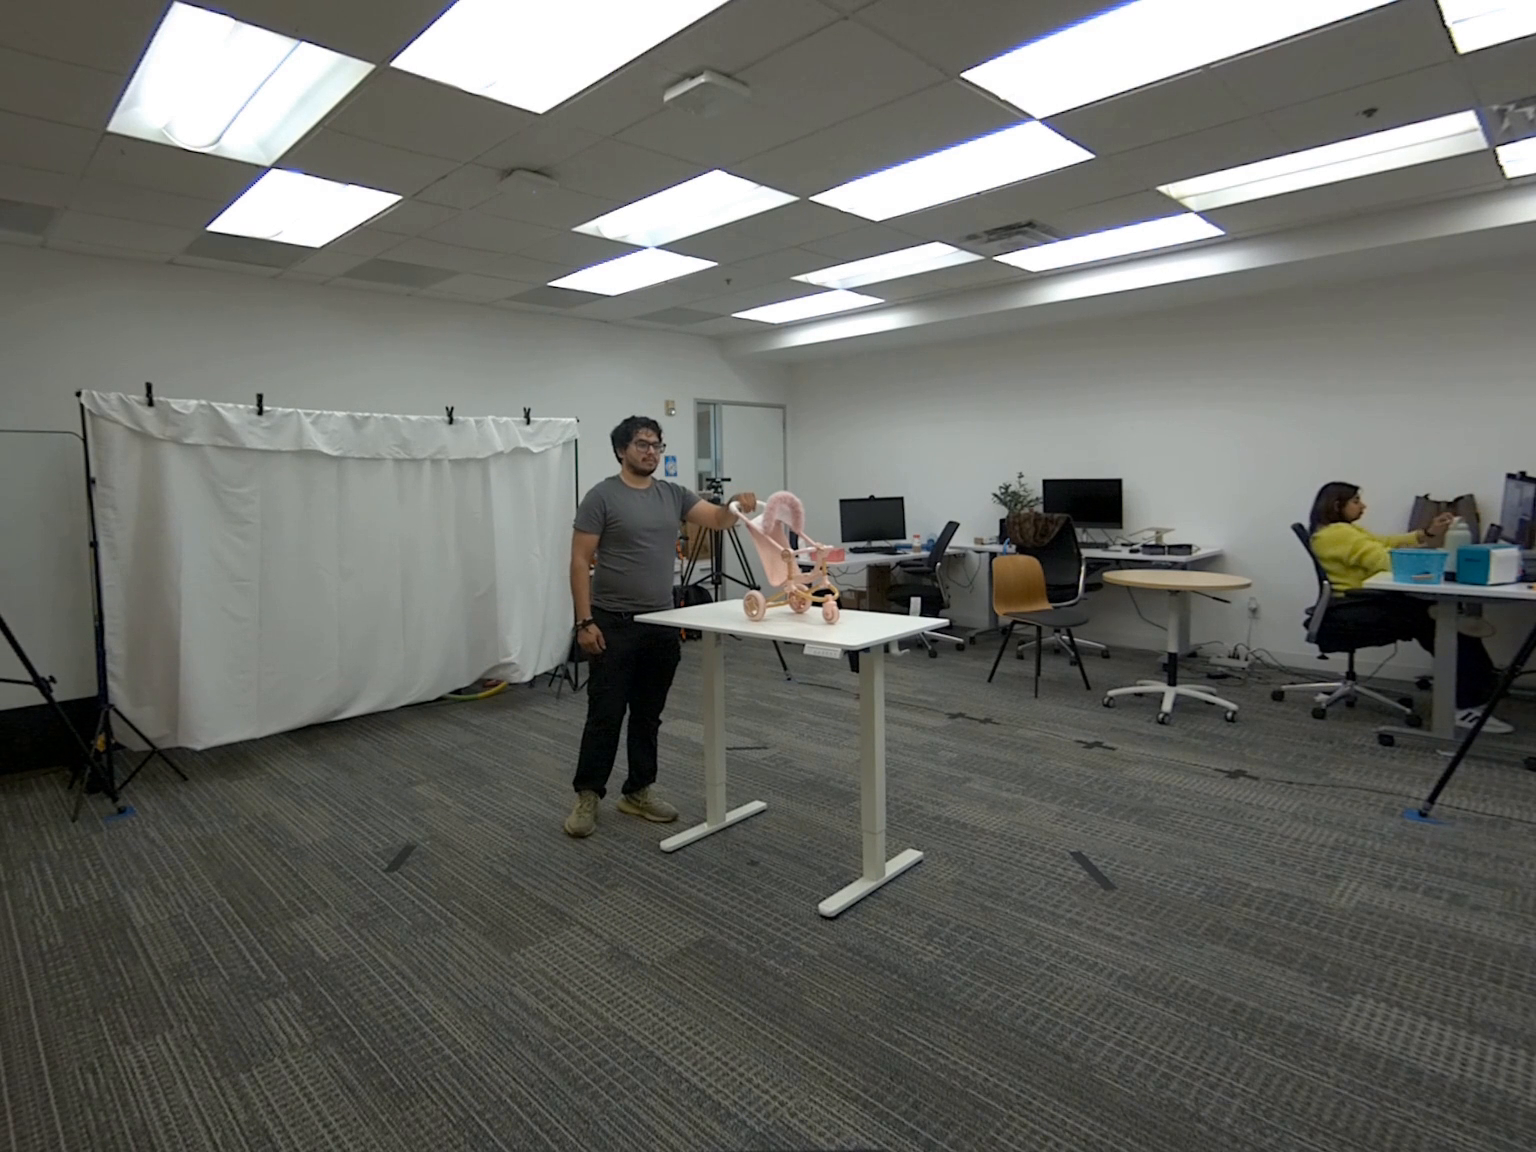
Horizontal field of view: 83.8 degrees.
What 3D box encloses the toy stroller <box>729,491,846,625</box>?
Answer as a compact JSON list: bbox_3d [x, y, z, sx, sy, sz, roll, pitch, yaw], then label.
[{"bbox_3d":[0.078,-0.068,3.101,0.274,0.540,0.347,-6,-10,-42],"label":"toy stroller"}]
